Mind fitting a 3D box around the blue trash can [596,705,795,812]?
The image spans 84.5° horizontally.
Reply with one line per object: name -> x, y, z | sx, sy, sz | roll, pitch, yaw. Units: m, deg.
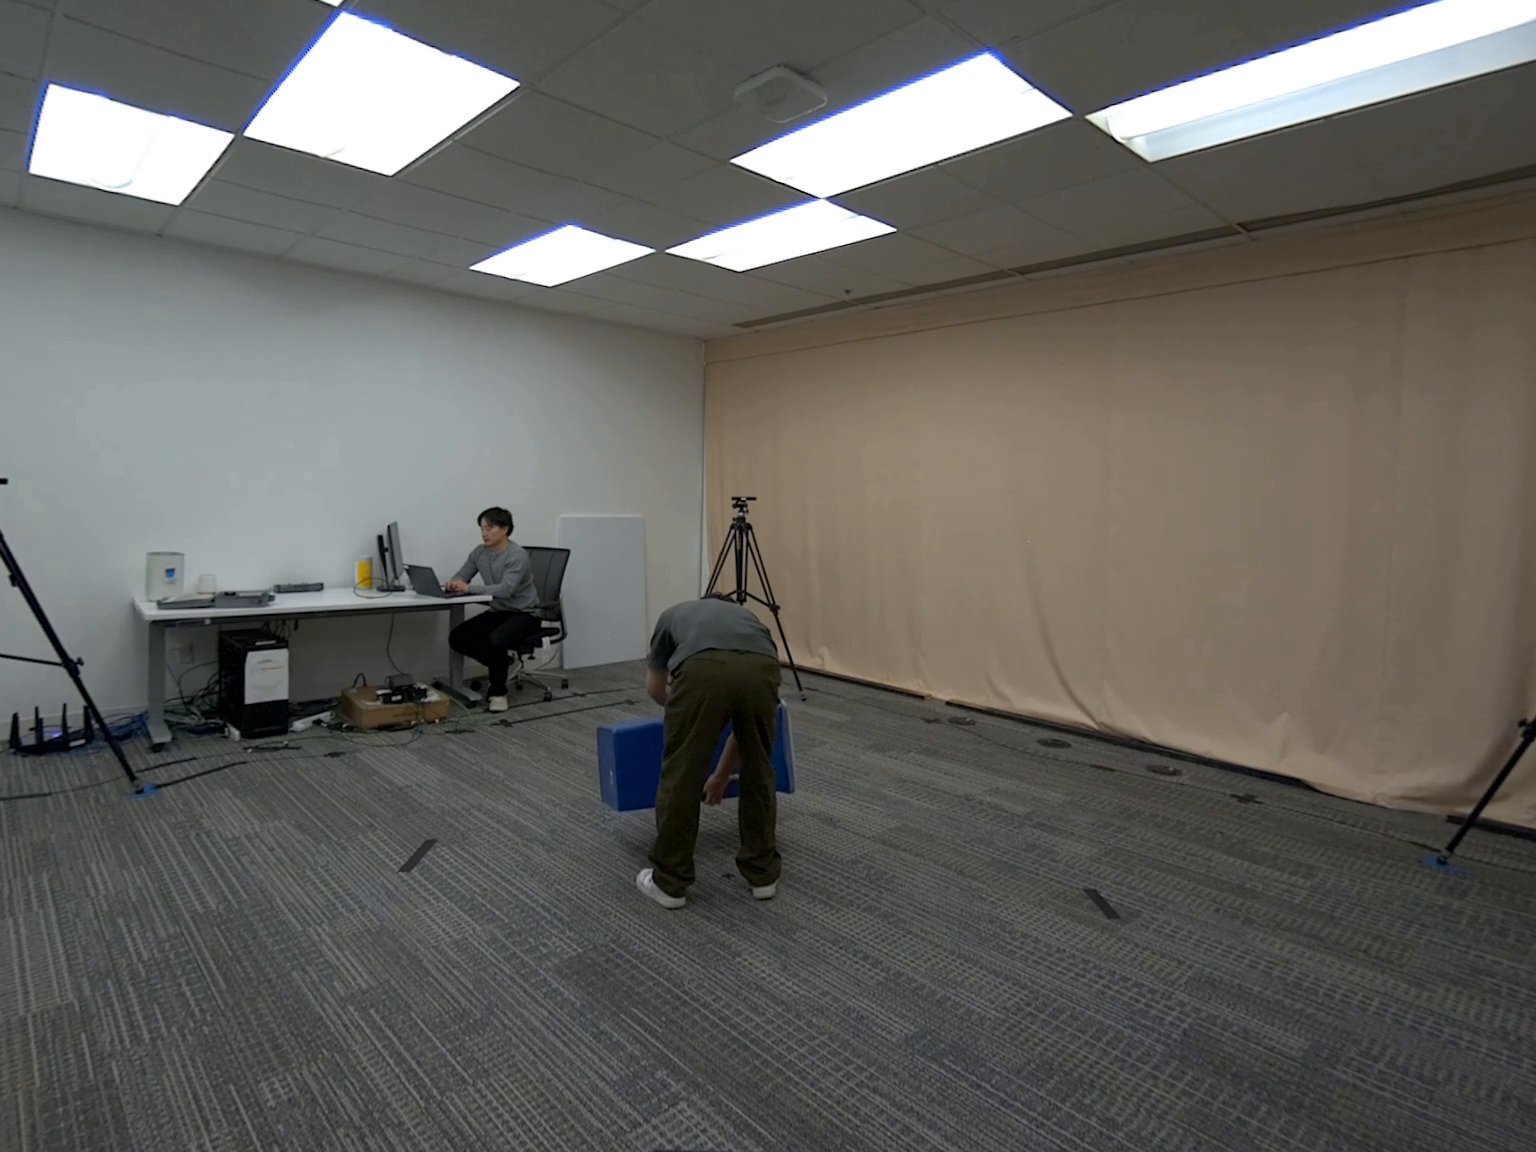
blue trash can -> -0.304, 0.738, 3.402 | 0.703, 0.376, 0.382 | -4, -5, -21
